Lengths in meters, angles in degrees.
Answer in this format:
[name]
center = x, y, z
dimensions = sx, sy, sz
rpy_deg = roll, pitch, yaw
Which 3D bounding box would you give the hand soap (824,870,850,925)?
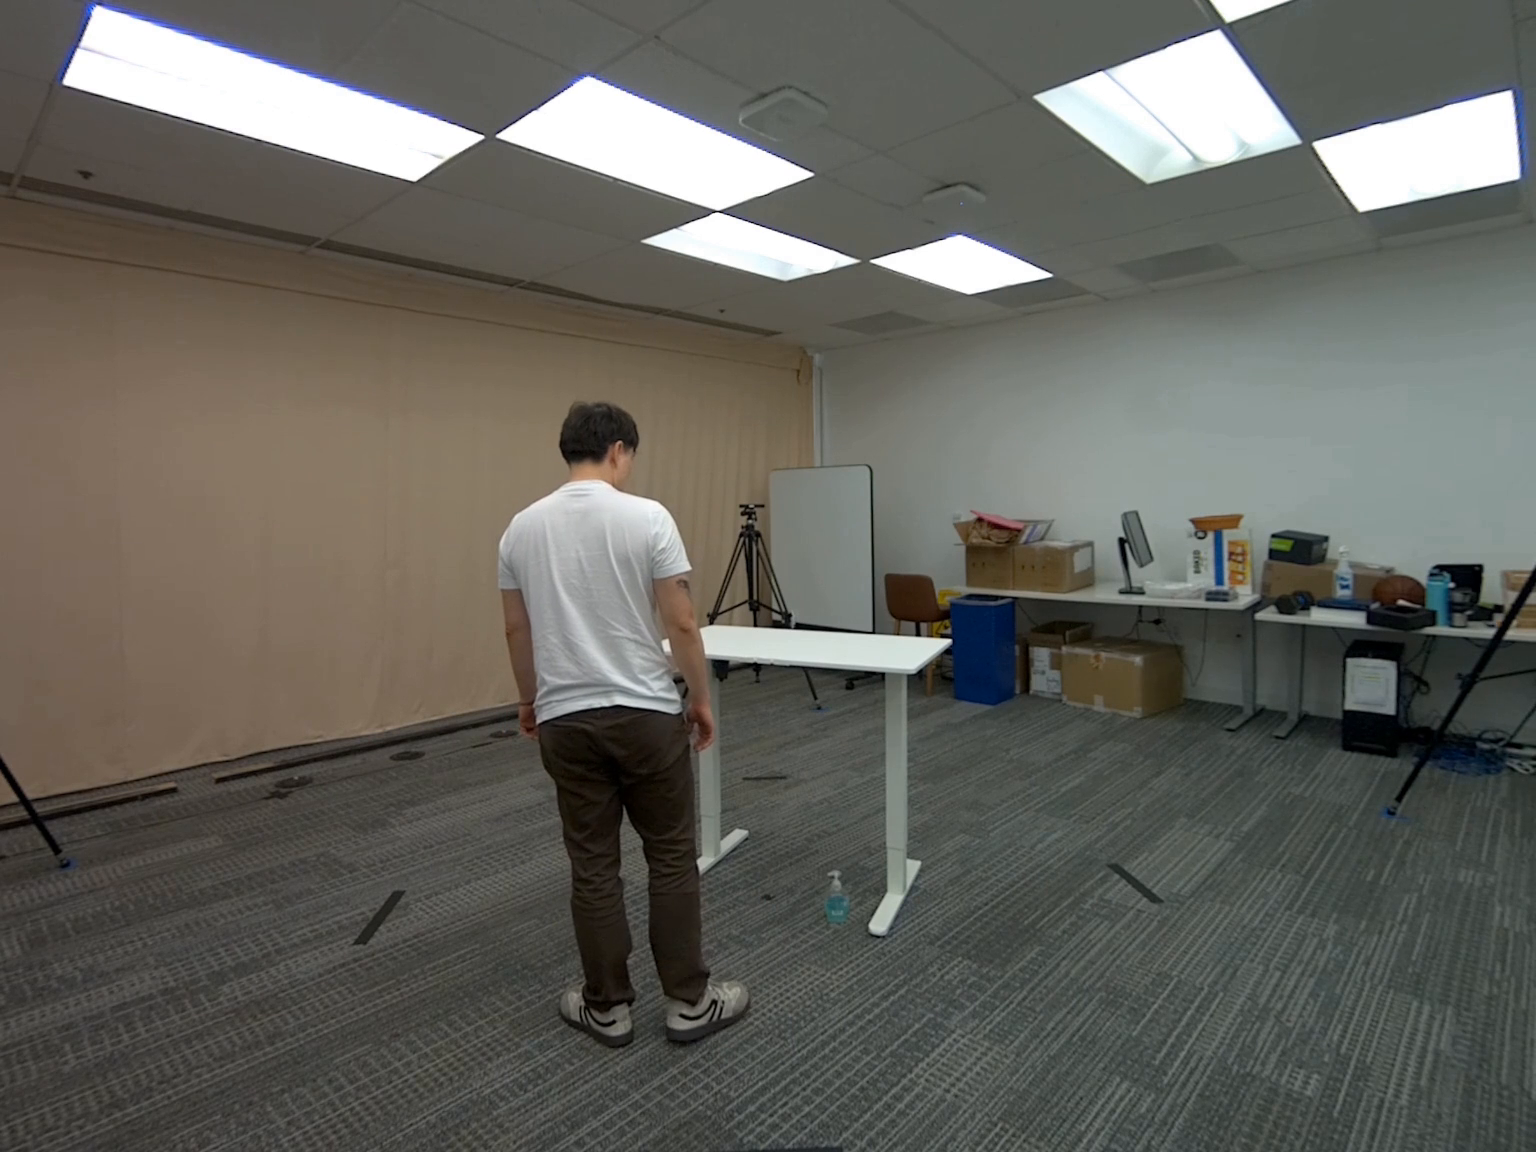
[hand soap]
center = 0.231, 1.069, 2.804
dimensions = 0.084, 0.168, 0.044
rpy_deg = -1, 4, -6
